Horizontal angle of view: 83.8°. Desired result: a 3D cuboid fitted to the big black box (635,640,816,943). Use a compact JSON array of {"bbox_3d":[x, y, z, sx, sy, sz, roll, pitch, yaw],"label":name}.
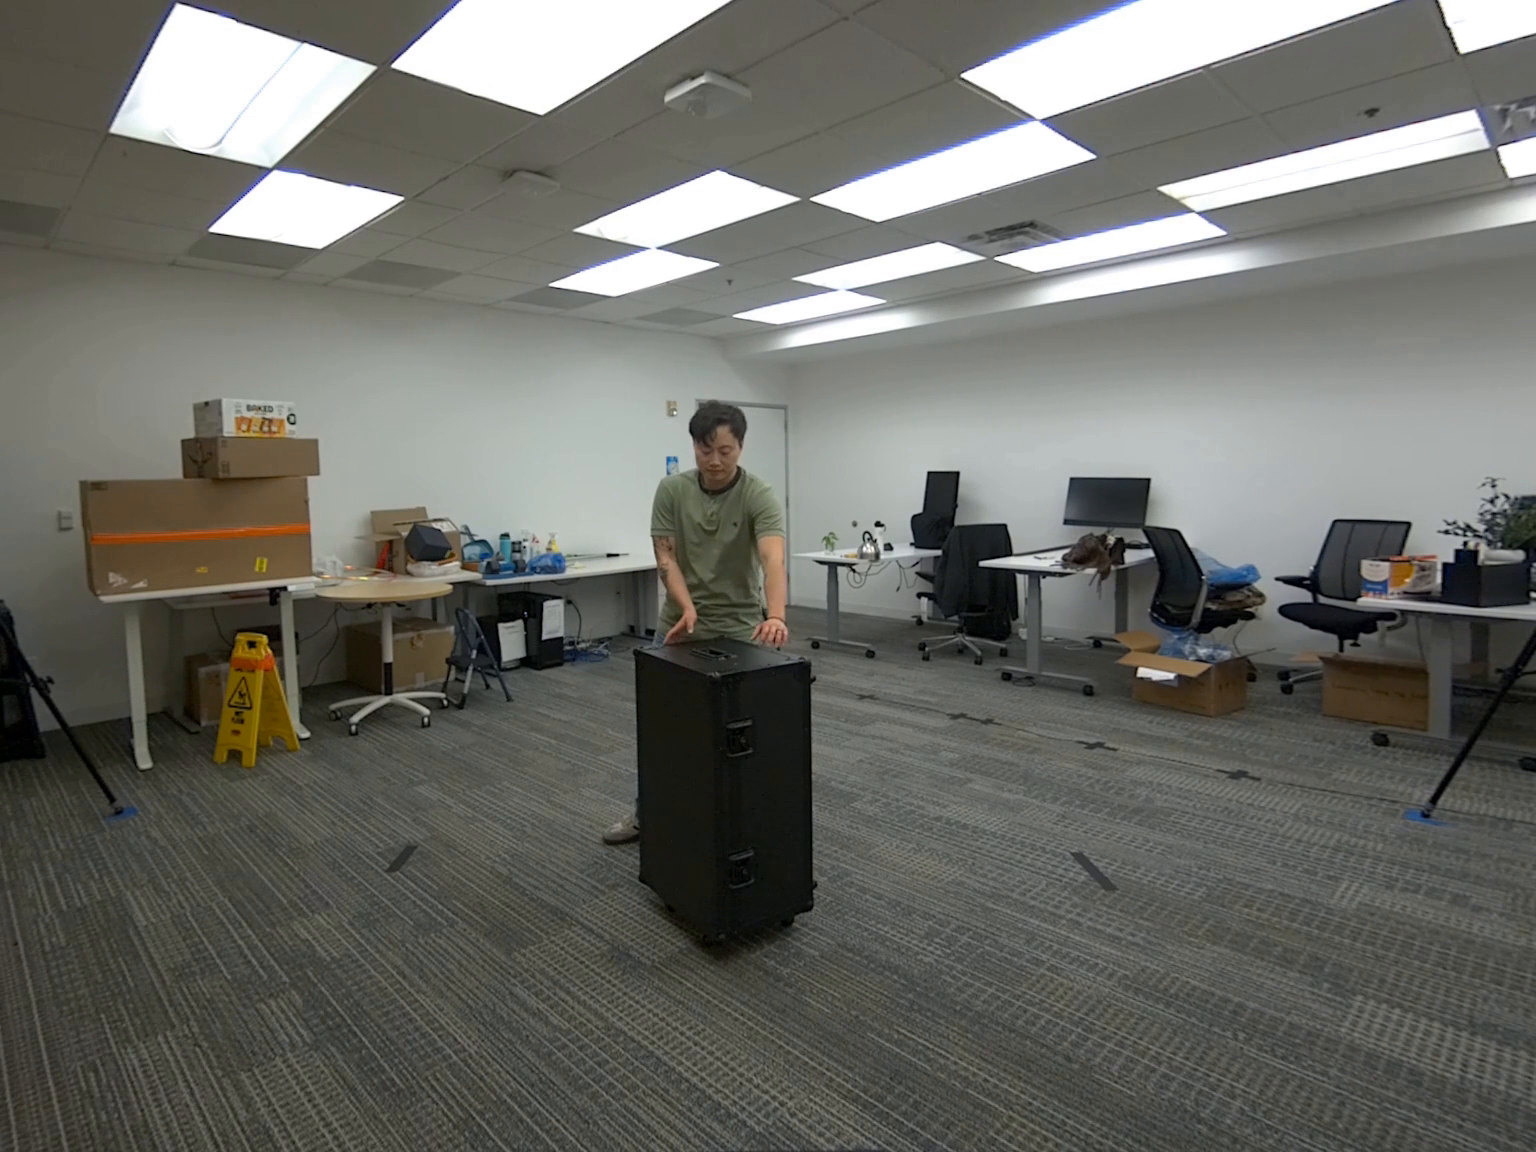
[{"bbox_3d":[-0.141,0.673,2.711,0.386,0.859,0.536,-3,4,-35],"label":"big black box"}]
